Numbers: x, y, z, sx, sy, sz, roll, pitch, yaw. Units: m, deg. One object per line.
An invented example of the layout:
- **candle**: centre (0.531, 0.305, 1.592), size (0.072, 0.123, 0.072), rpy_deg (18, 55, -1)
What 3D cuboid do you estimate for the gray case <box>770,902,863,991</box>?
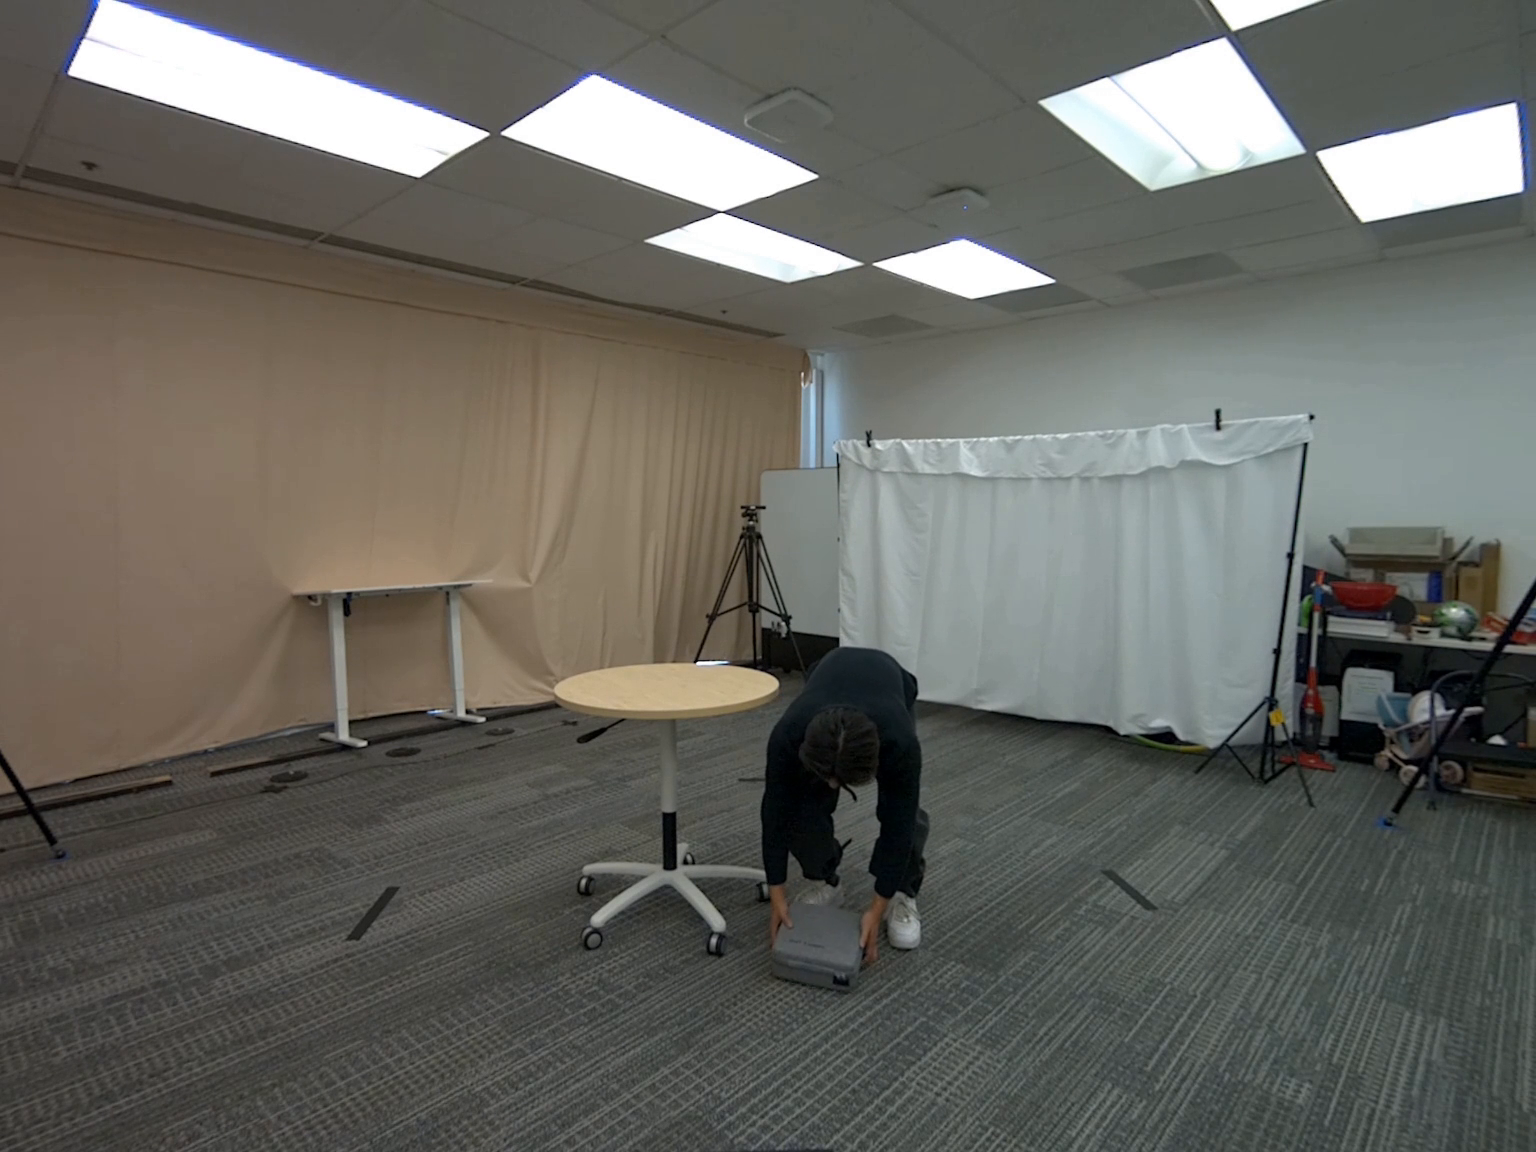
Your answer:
- **gray case**: centre (0.160, 1.100, 2.539), size (0.262, 0.103, 0.258), rpy_deg (3, 15, 16)
